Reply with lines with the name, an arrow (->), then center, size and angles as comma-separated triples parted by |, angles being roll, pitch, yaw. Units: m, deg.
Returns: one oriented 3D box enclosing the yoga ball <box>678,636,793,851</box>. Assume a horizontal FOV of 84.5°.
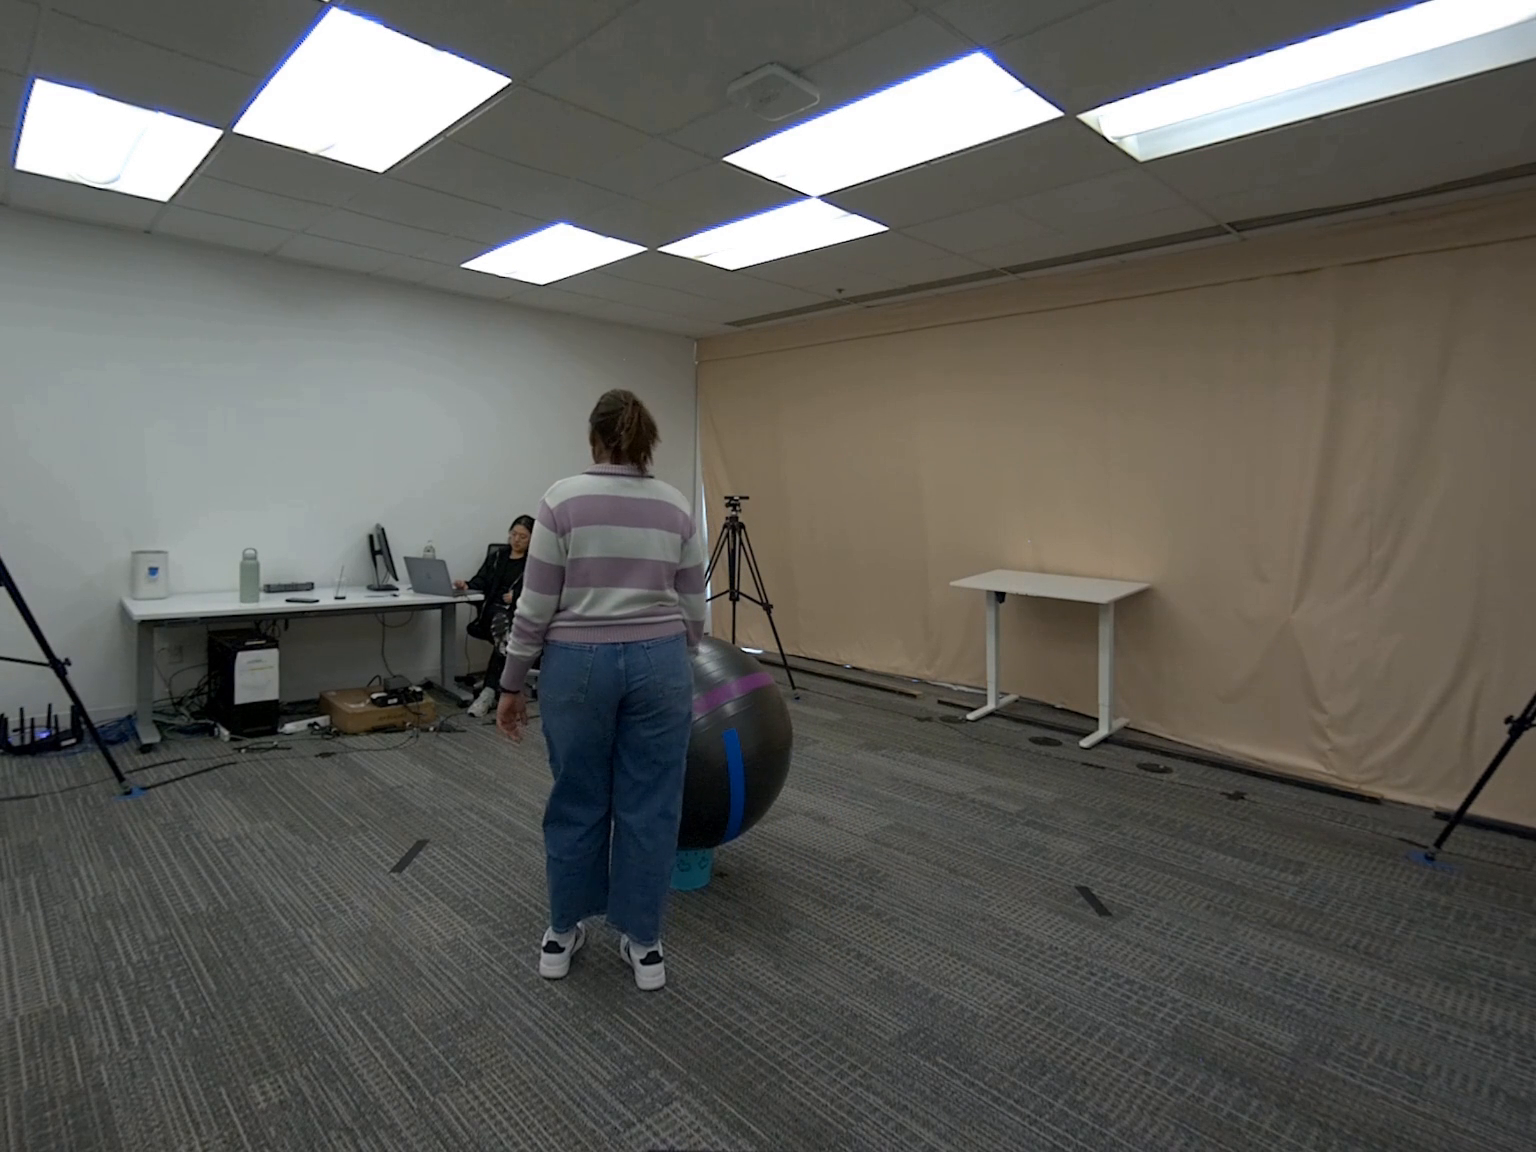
yoga ball -> -0.292, 0.597, 3.045 | 0.757, 0.756, 0.761 | 1, 4, -1
